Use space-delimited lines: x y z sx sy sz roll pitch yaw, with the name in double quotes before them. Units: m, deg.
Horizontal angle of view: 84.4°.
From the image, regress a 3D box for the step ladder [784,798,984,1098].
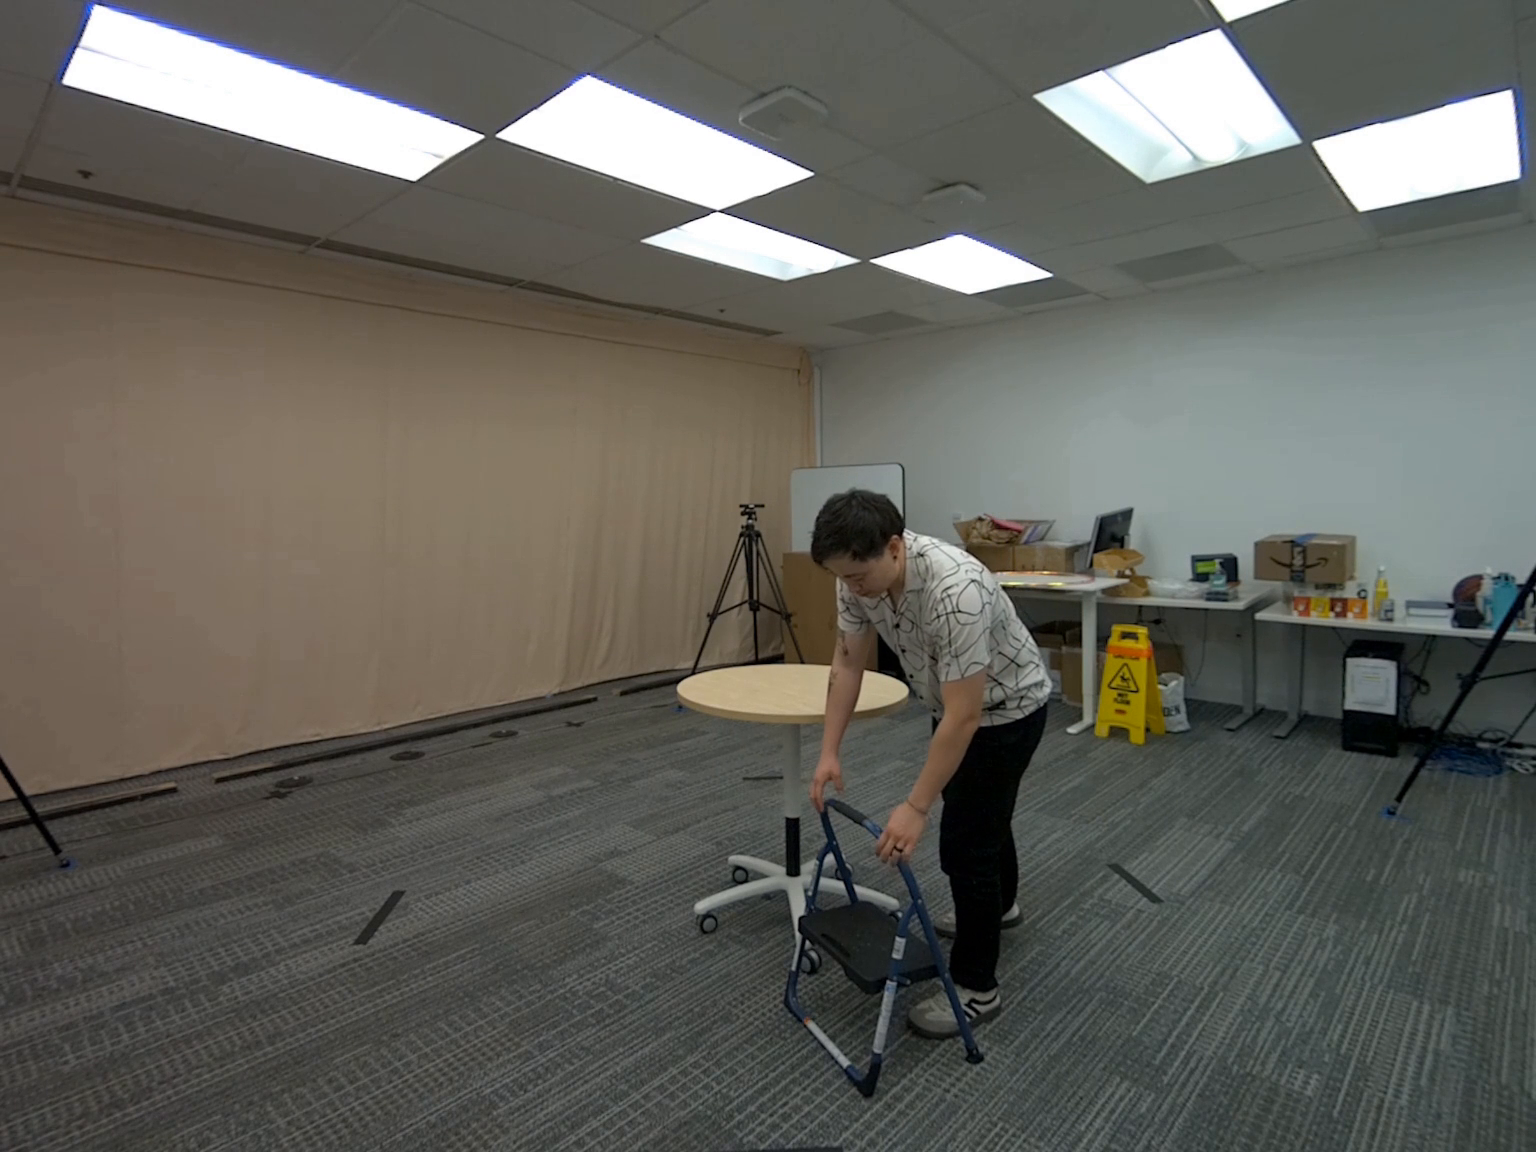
"step ladder" 0.290 0.902 2.202 0.341 0.604 0.442 -3 5 -27
